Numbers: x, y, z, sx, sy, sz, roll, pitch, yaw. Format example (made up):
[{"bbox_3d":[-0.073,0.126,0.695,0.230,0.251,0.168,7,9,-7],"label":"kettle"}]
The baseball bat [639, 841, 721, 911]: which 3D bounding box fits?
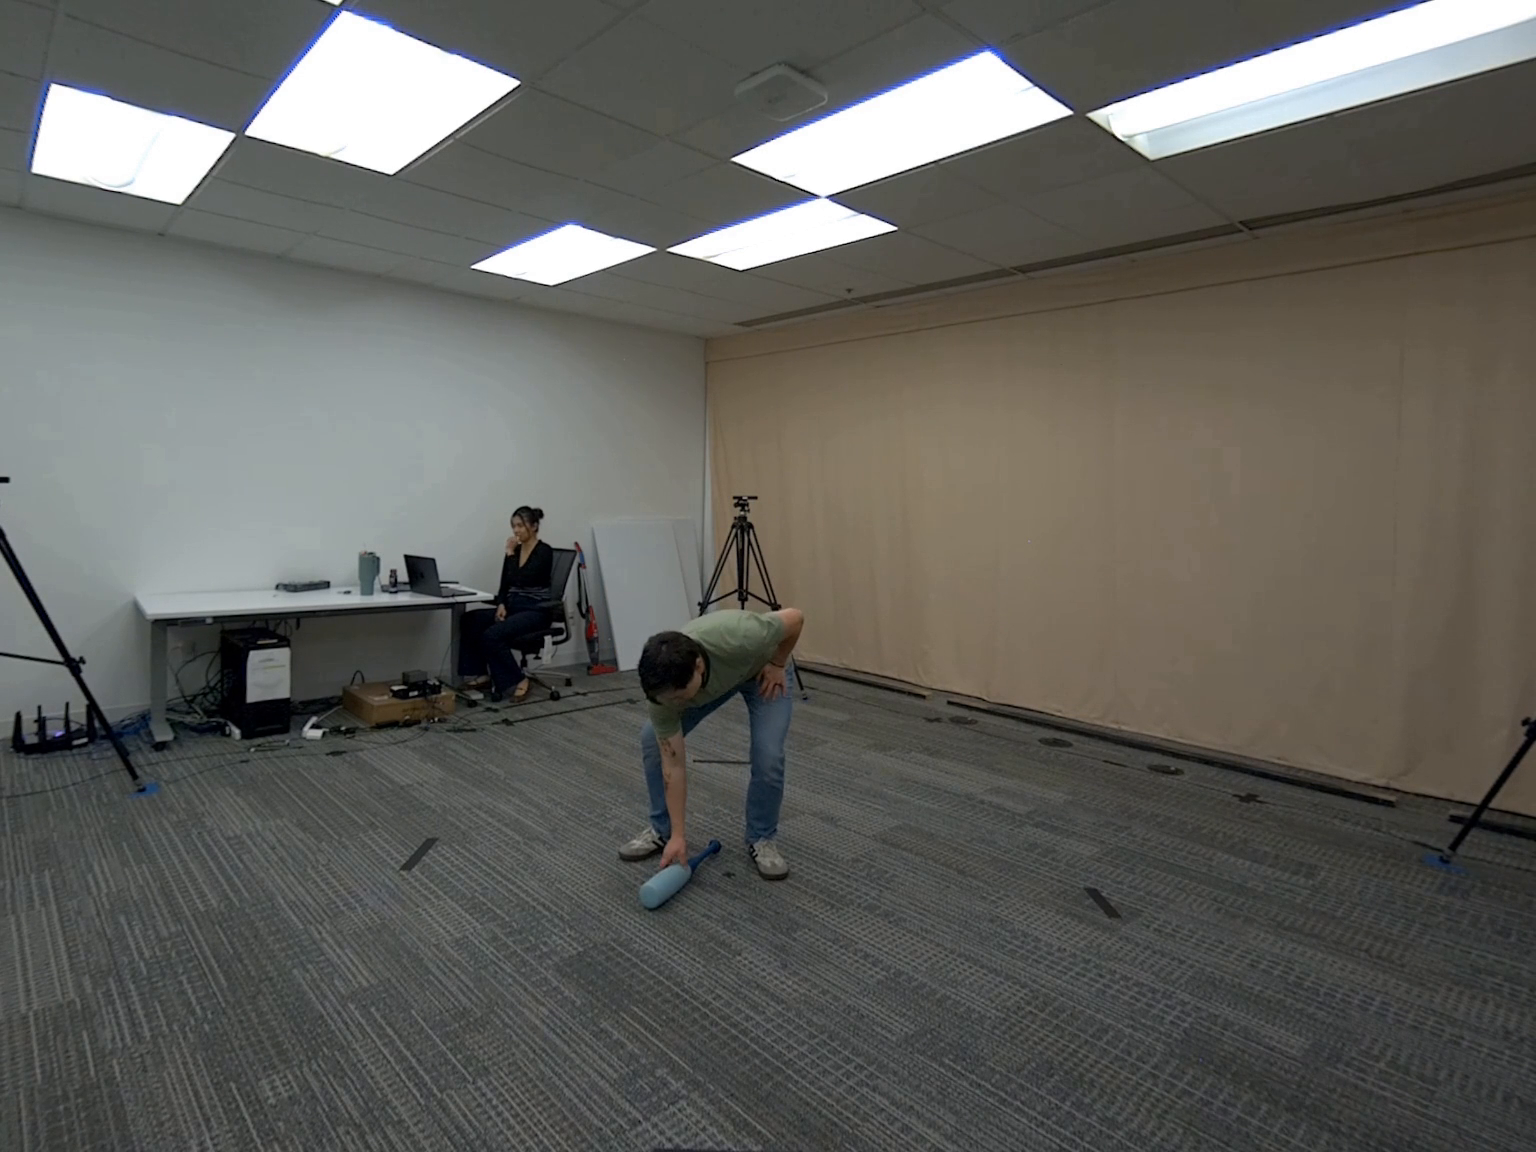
[{"bbox_3d":[-0.309,1.069,3.052,0.090,0.089,0.534,3,3,20],"label":"baseball bat"}]
